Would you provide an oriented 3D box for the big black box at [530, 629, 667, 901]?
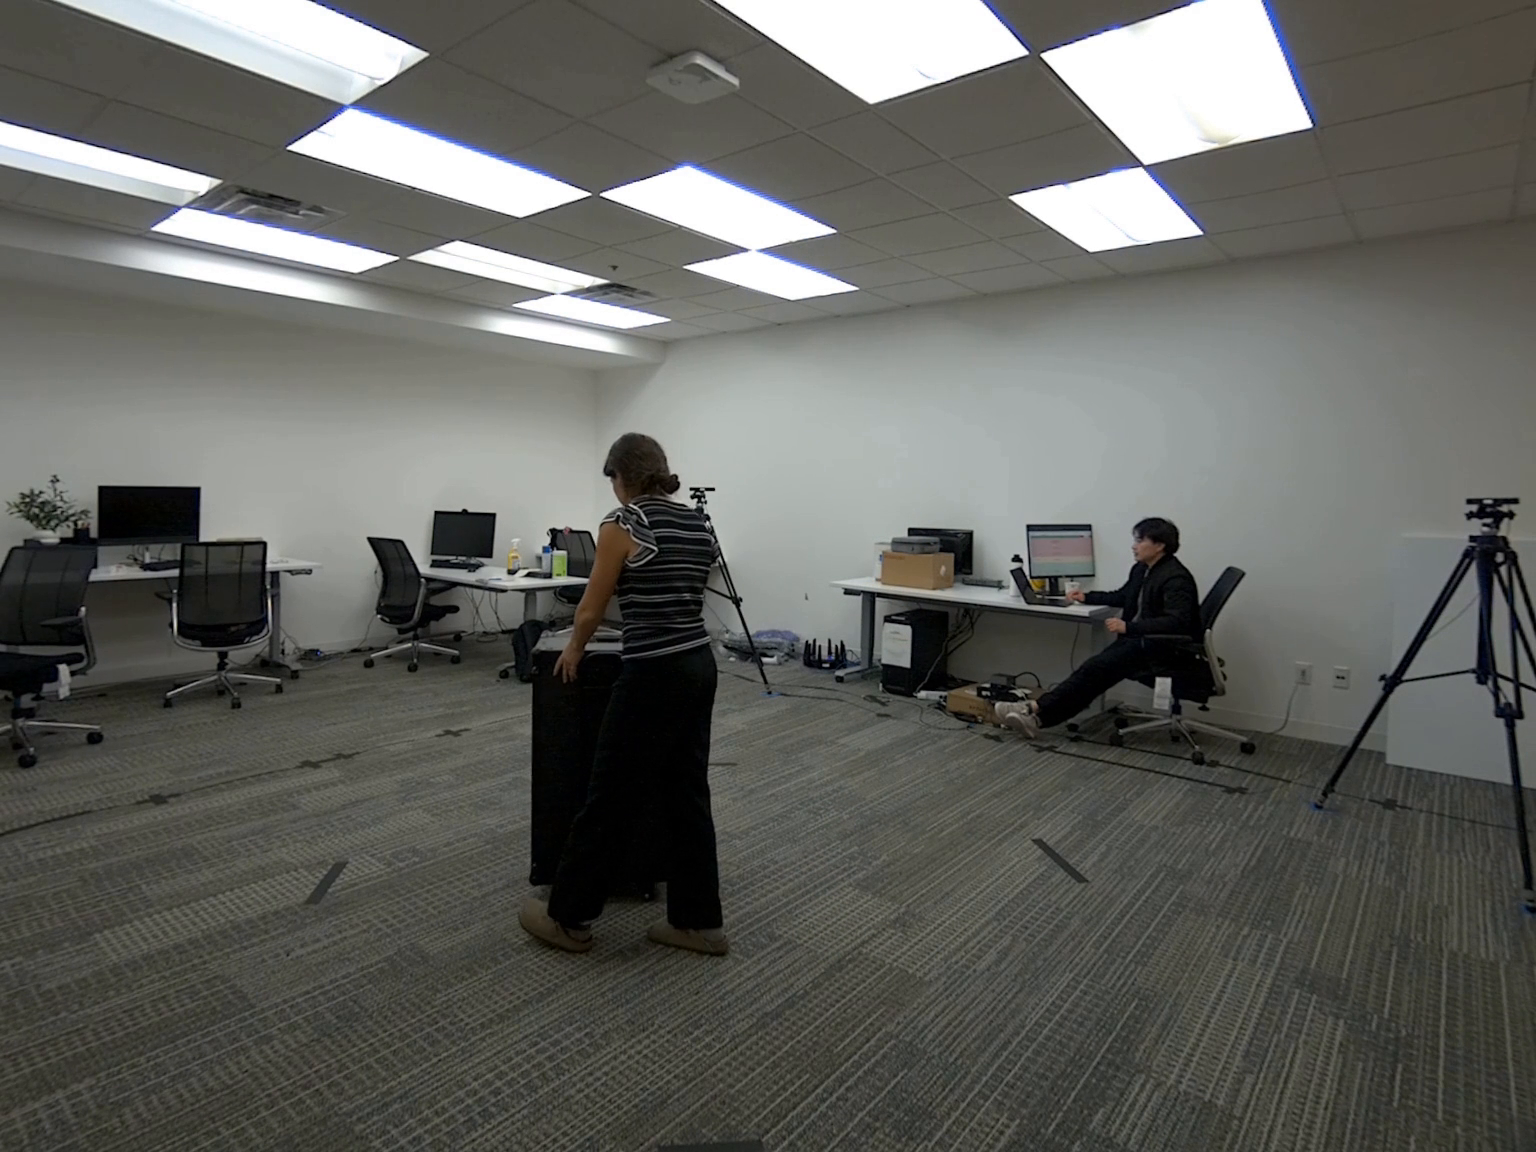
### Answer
[{"bbox_3d":[-0.575,0.650,2.964,0.518,0.859,0.400,2,3,-6],"label":"big black box"}]
